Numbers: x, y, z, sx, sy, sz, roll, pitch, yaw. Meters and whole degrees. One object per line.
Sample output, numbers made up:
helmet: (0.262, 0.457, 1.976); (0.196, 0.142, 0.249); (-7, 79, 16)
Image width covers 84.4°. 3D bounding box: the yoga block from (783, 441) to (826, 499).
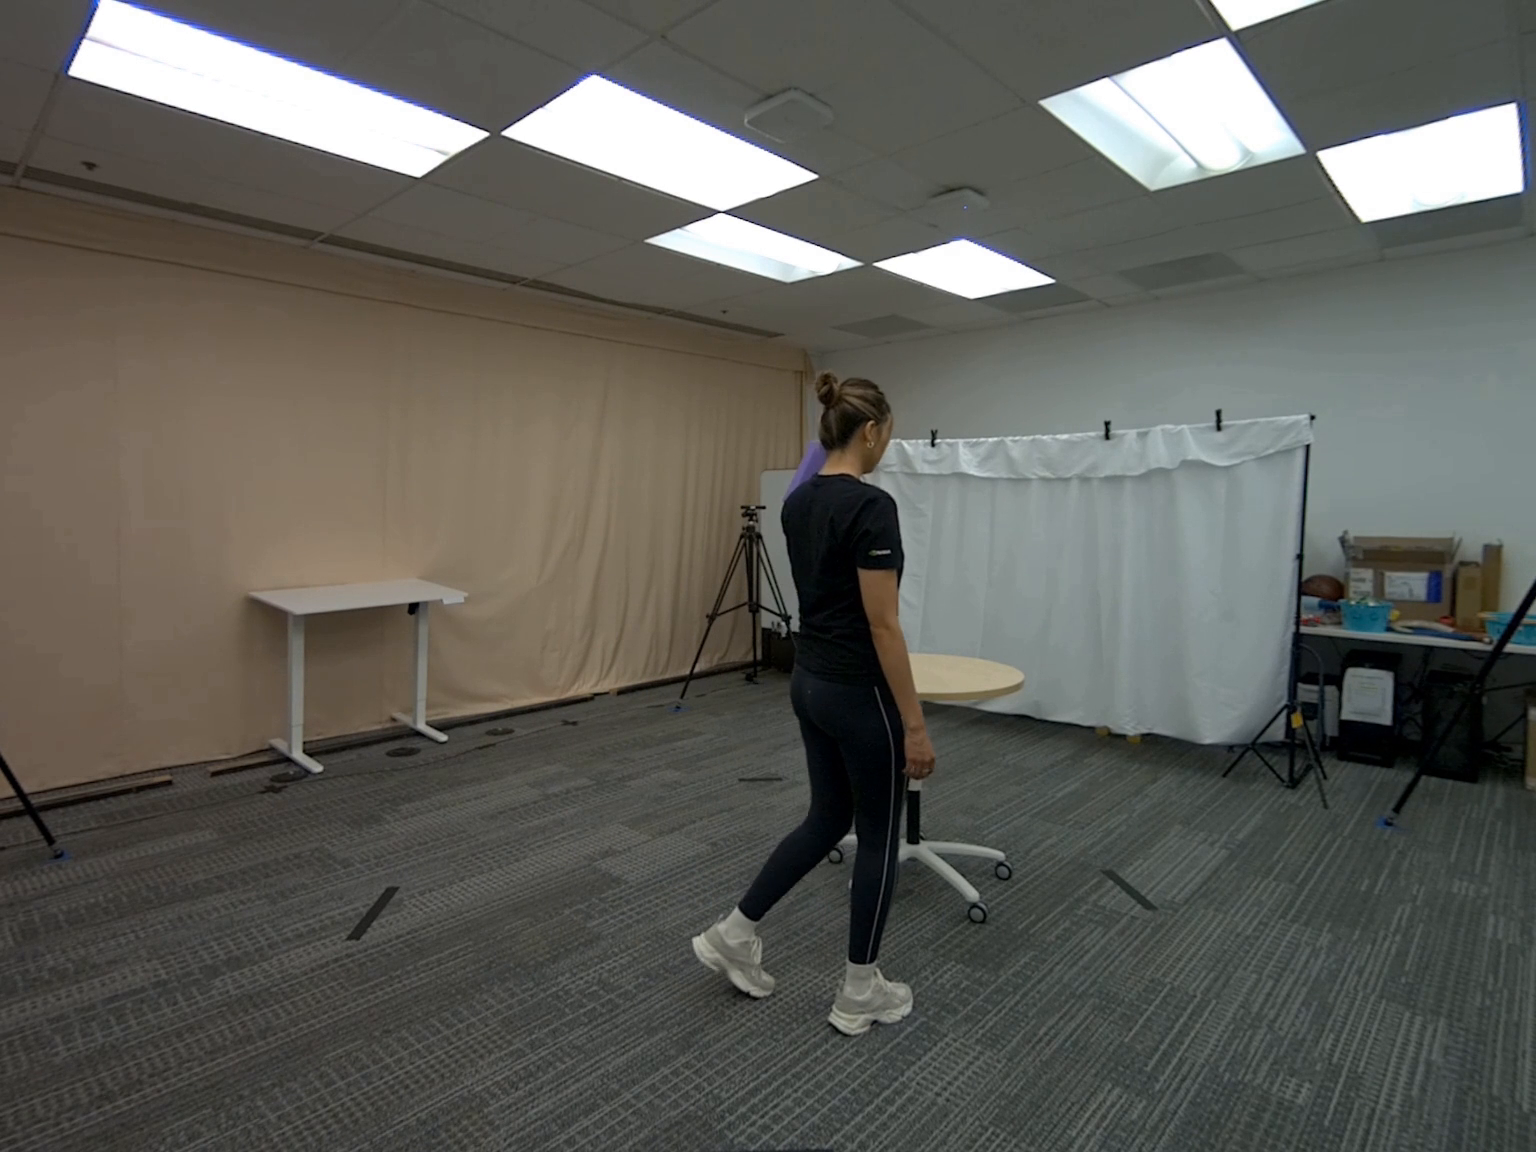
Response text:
yoga block: (0.170, -0.314, 2.764); (0.145, 0.229, 0.078); (26, -1, -21)
